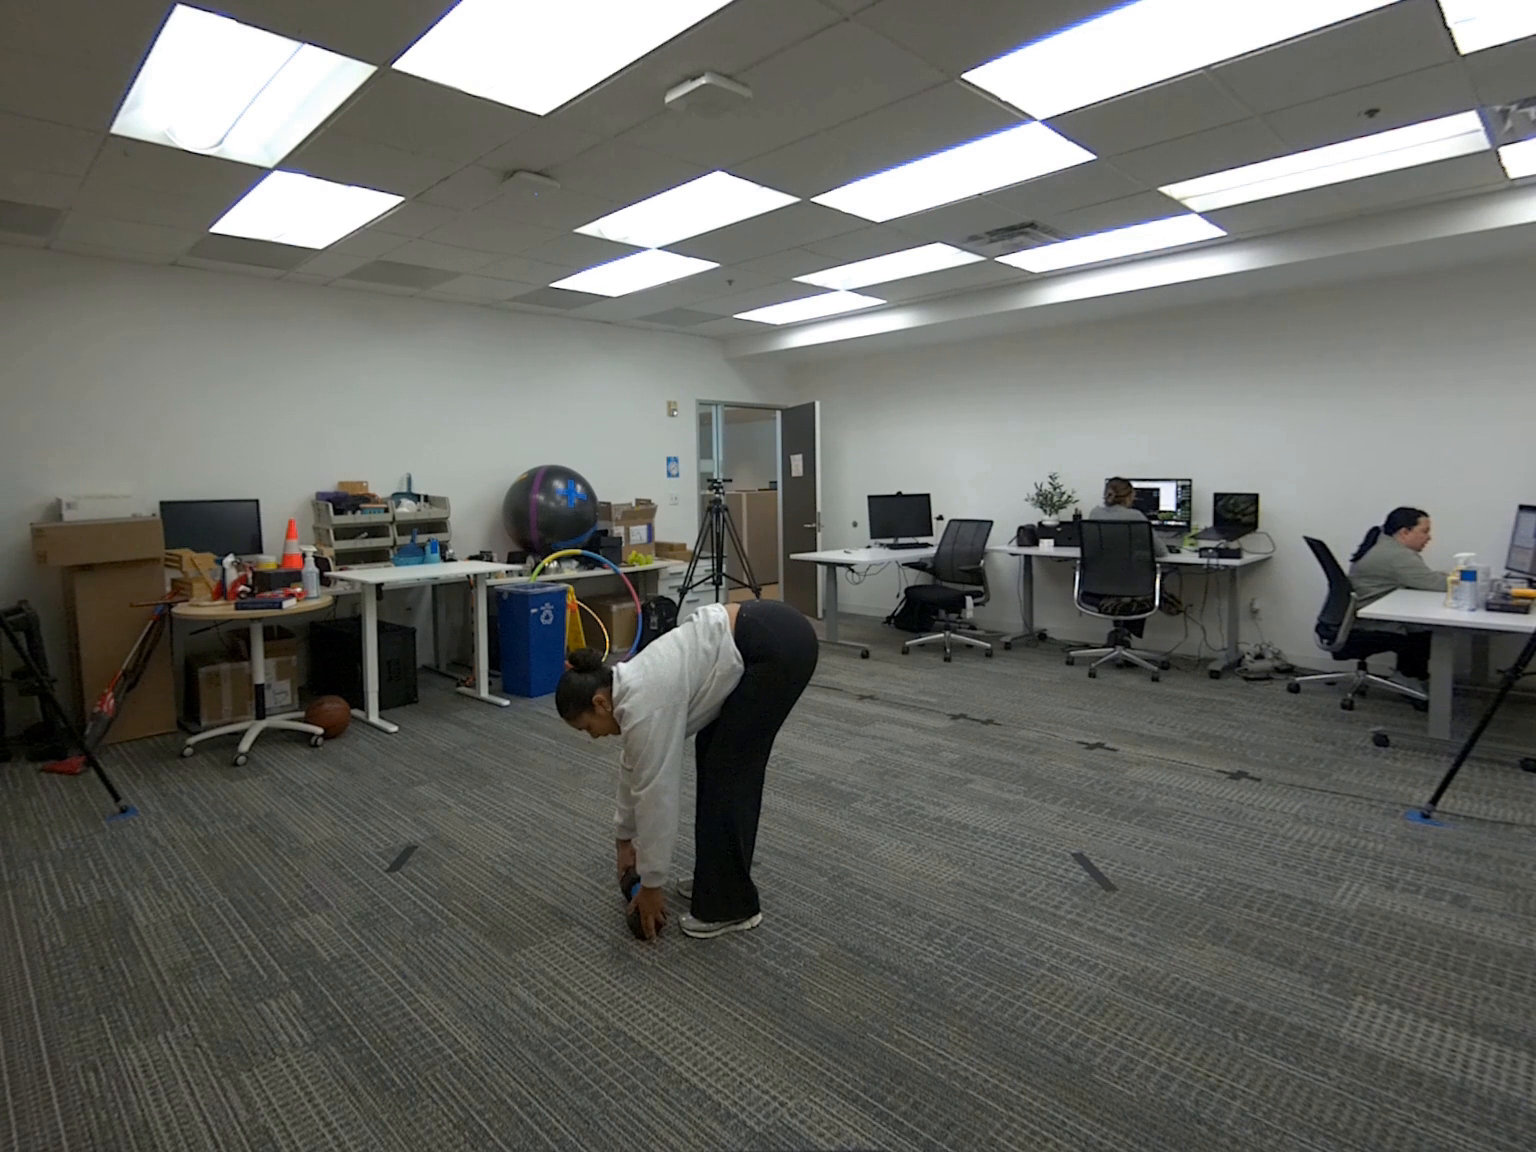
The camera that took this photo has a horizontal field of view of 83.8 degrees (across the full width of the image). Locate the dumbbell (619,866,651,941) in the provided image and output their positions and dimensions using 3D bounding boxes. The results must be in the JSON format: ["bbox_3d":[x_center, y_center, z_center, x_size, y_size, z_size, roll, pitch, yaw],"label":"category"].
[{"bbox_3d":[-0.398,1.041,2.737,0.107,0.123,0.298,29,-2,-15],"label":"dumbbell"}]
